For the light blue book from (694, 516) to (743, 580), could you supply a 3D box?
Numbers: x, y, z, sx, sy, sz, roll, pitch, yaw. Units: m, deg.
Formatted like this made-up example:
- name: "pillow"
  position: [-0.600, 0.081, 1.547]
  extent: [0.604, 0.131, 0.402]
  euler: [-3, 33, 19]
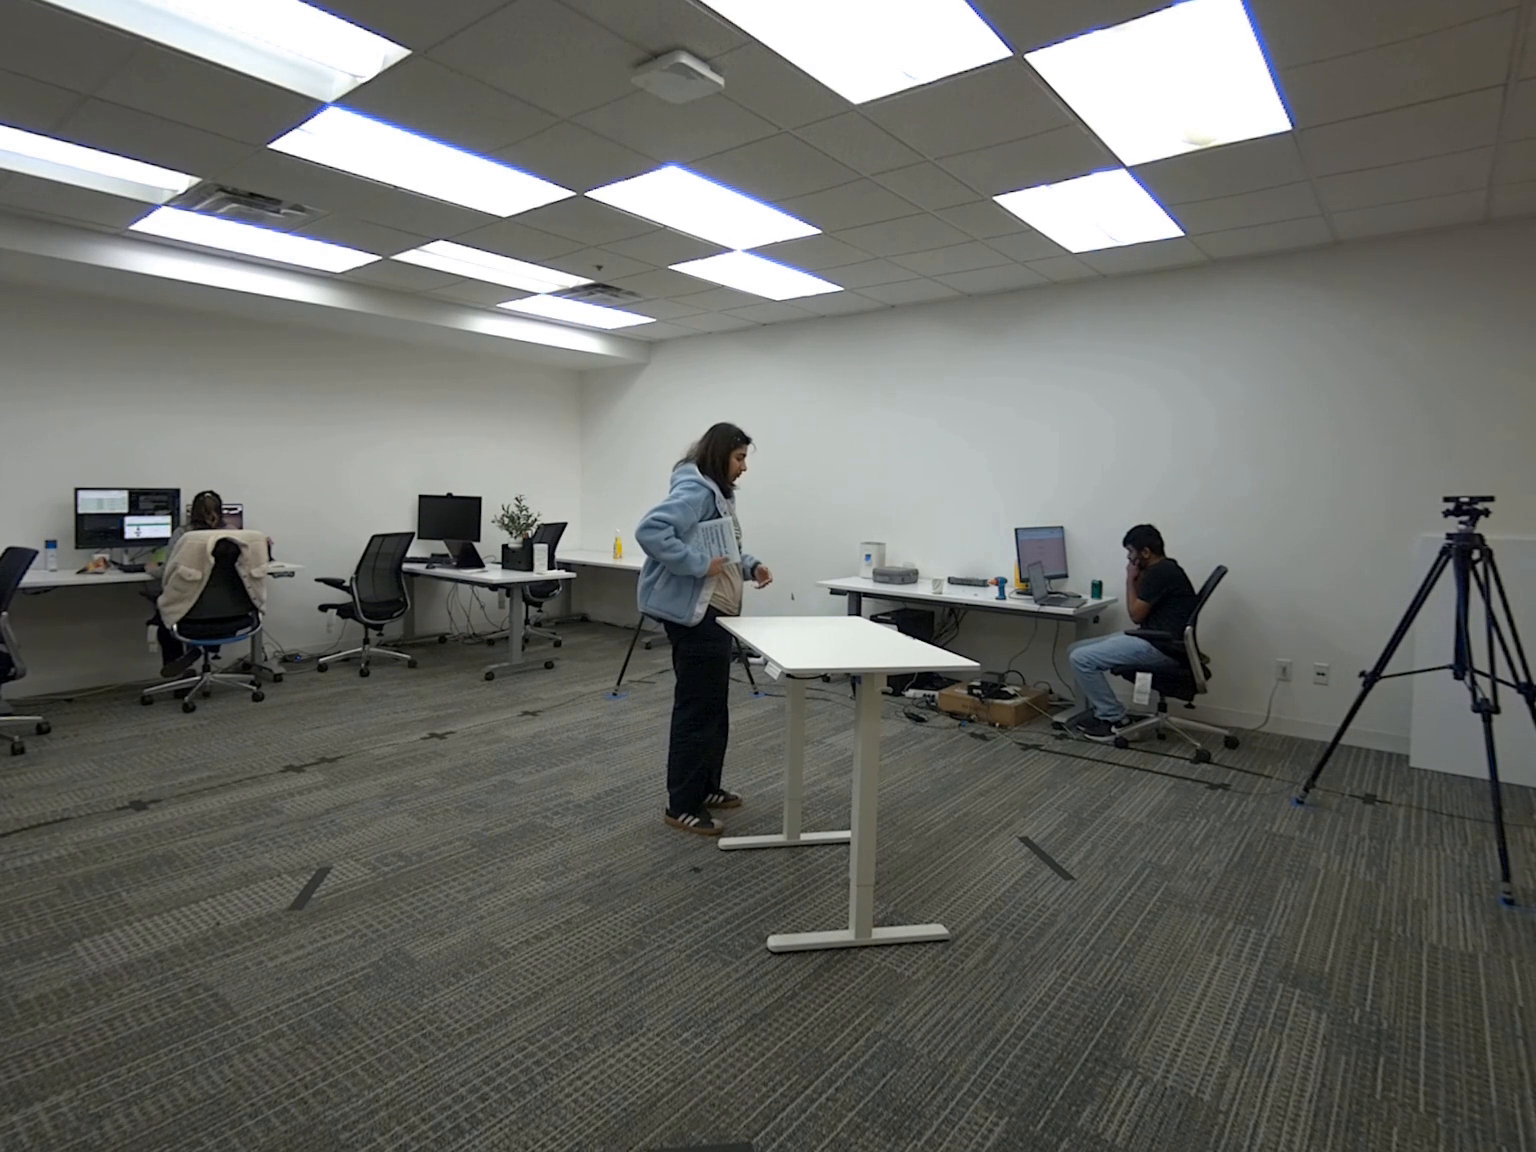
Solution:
- name: "light blue book"
  position: [-0.268, -0.132, 3.431]
  extent: [0.260, 0.192, 0.059]
  euler: [-8, -2, -4]
